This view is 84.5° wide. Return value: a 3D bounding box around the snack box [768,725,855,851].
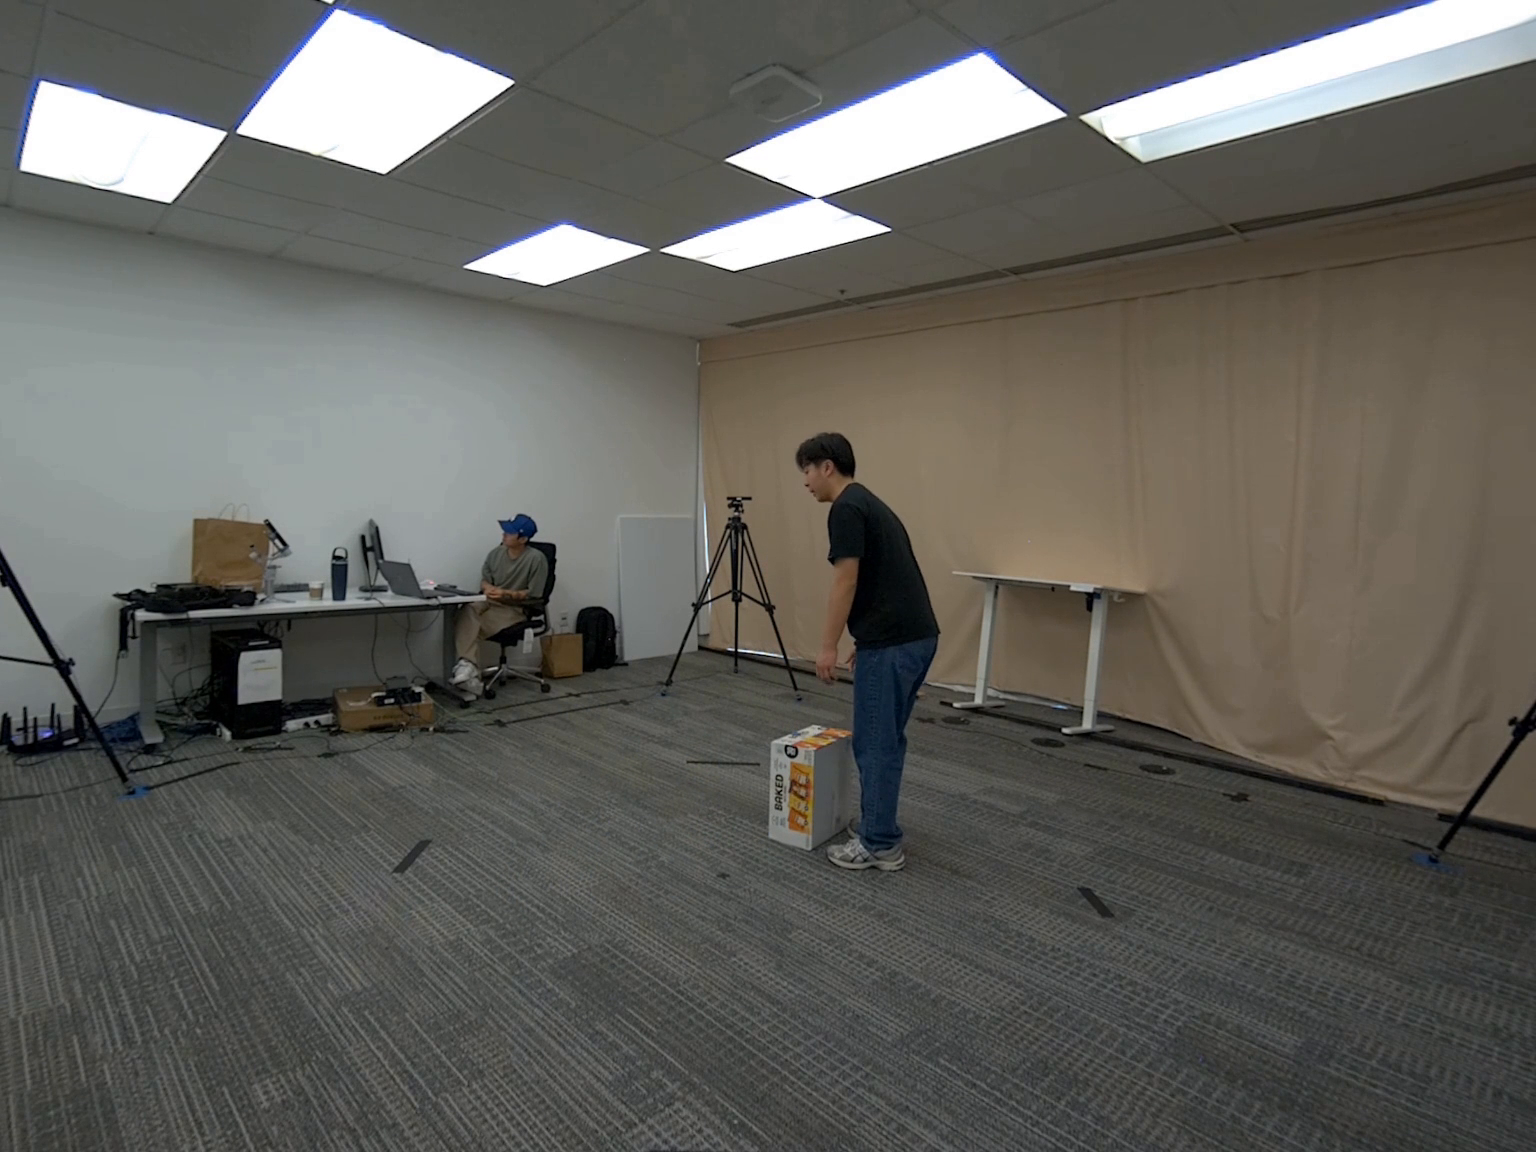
[{"bbox_3d":[0.183,0.874,3.524,0.210,0.404,0.333,2,3,33],"label":"snack box"}]
